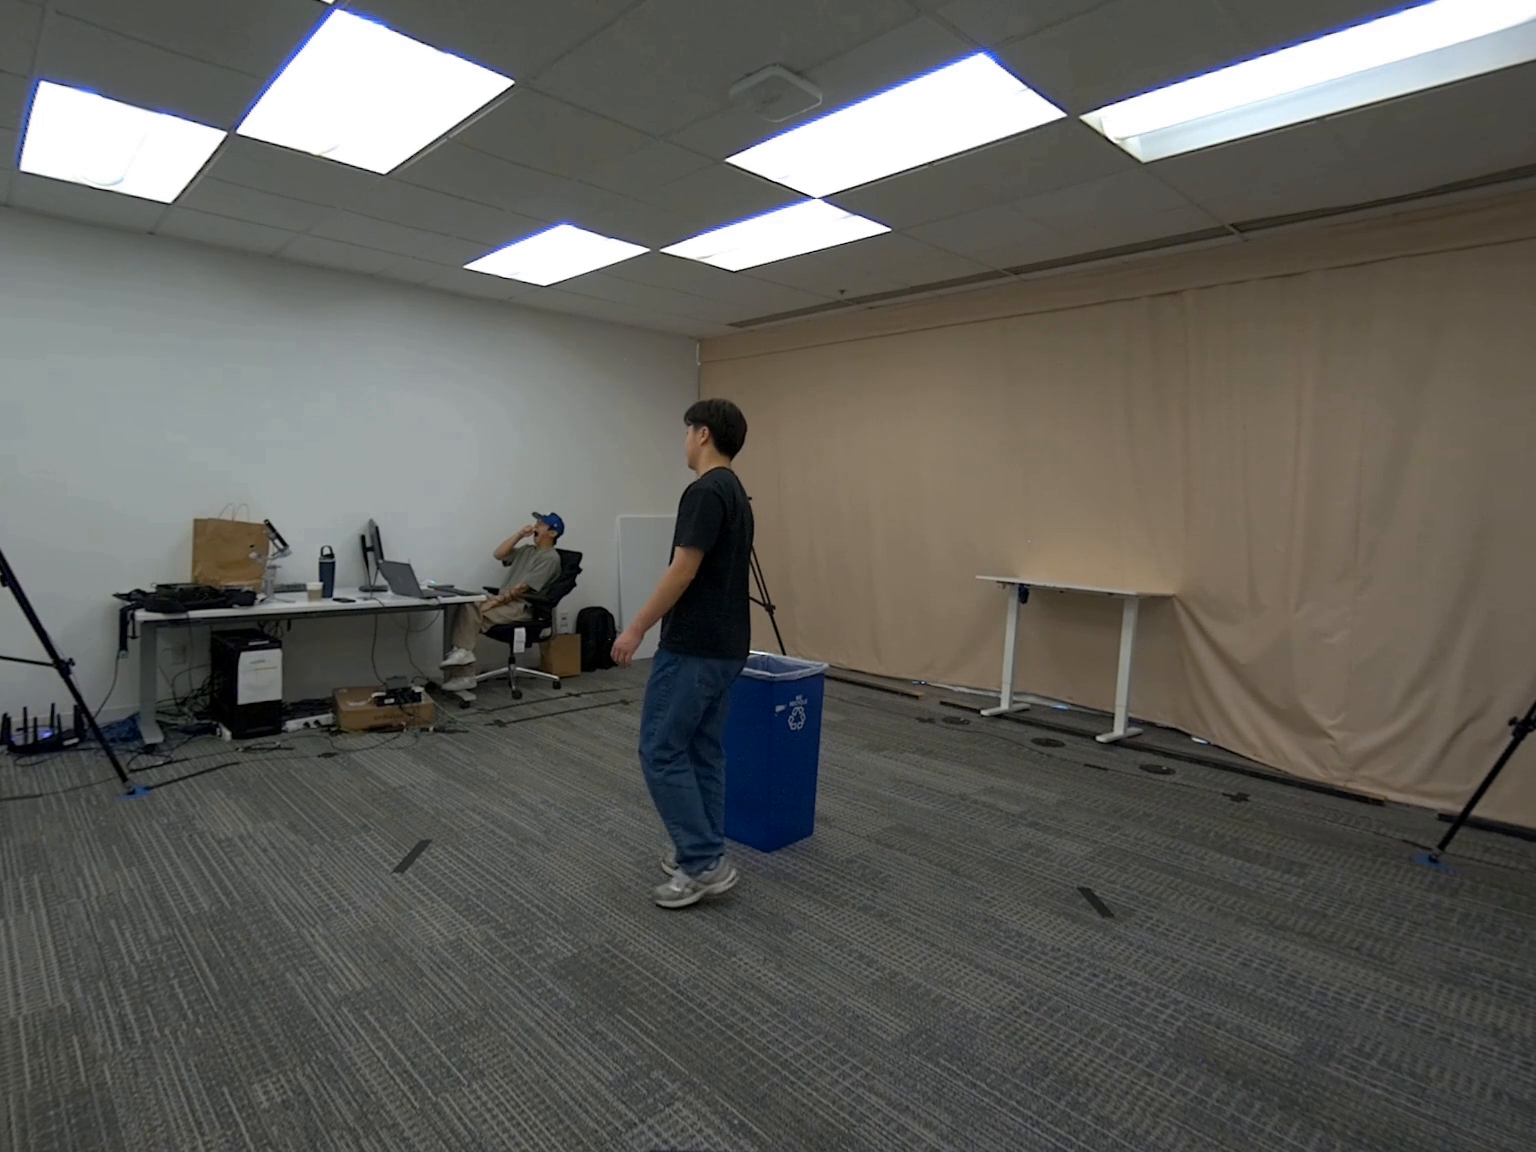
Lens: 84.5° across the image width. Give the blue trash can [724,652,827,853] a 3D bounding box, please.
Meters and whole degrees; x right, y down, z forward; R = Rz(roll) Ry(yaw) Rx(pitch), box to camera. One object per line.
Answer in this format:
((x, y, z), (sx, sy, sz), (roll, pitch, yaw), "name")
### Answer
((-0.006, 0.718, 3.508), (0.388, 0.712, 0.365), (5, 4, 42), "blue trash can")
